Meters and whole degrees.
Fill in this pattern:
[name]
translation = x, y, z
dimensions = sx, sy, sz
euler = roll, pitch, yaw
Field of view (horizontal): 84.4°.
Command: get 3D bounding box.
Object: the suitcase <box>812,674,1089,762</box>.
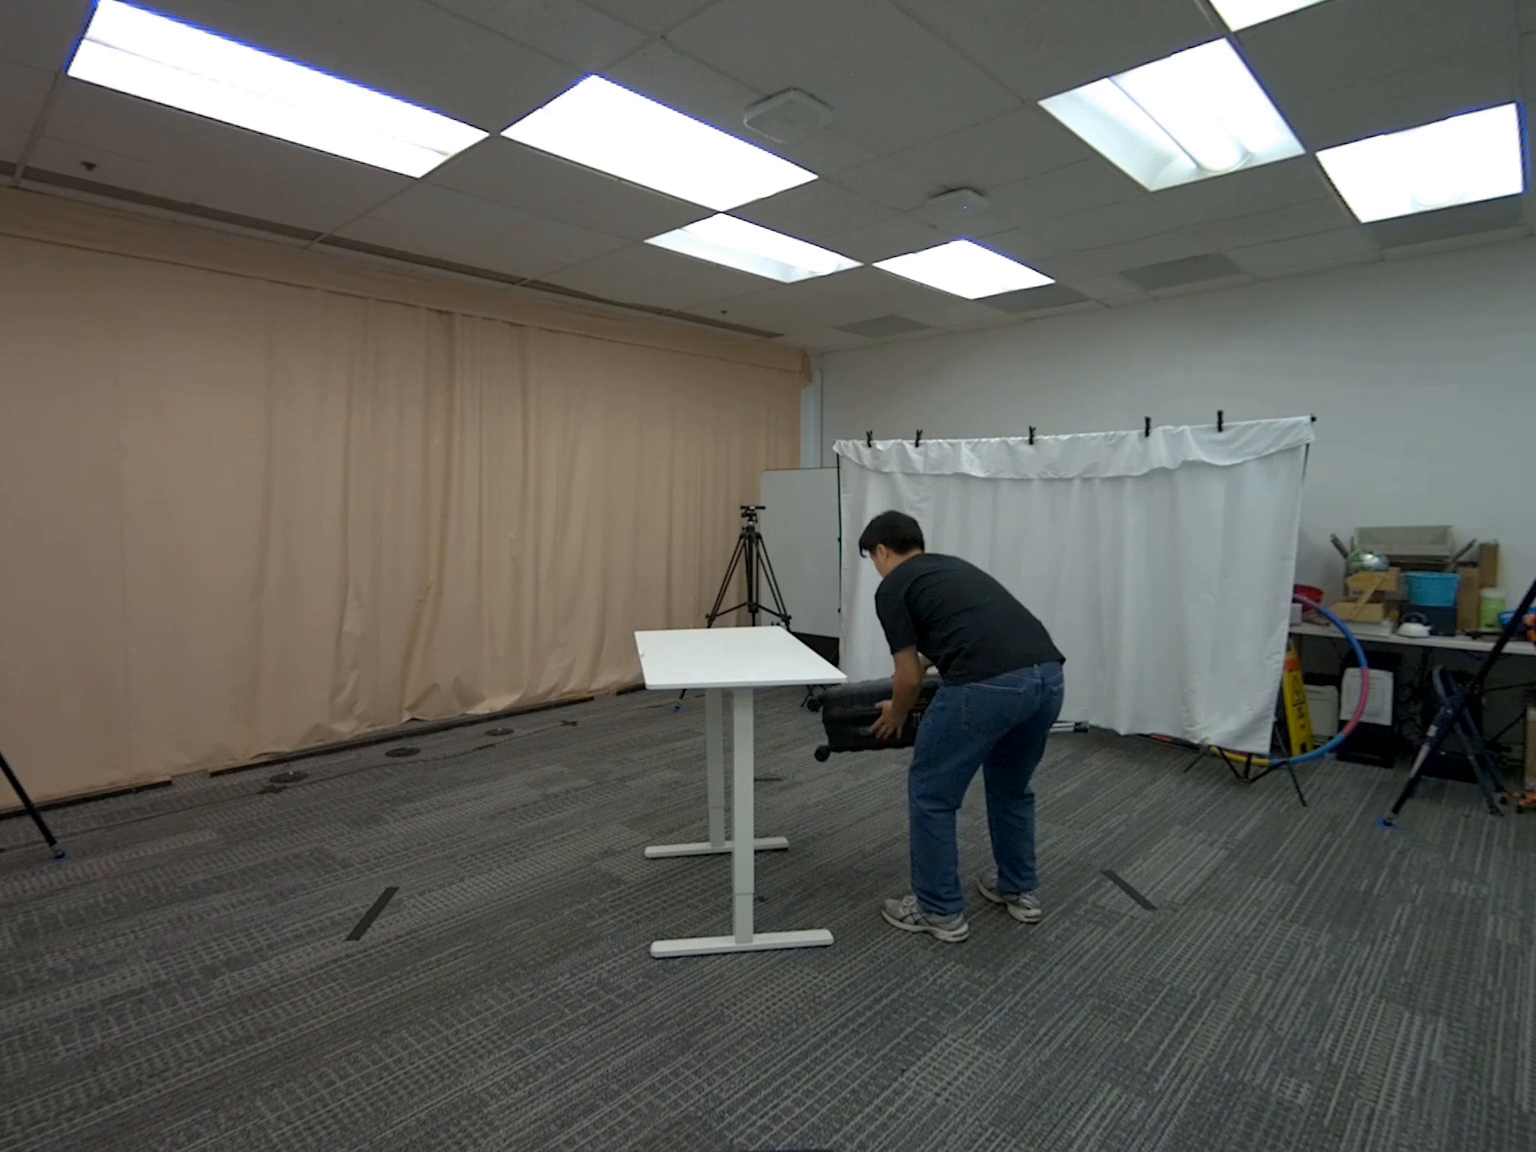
[suitcase]
translation = 0.659, 0.504, 3.217
dimensions = 0.998, 0.258, 0.374
euler = -10, -6, 23
